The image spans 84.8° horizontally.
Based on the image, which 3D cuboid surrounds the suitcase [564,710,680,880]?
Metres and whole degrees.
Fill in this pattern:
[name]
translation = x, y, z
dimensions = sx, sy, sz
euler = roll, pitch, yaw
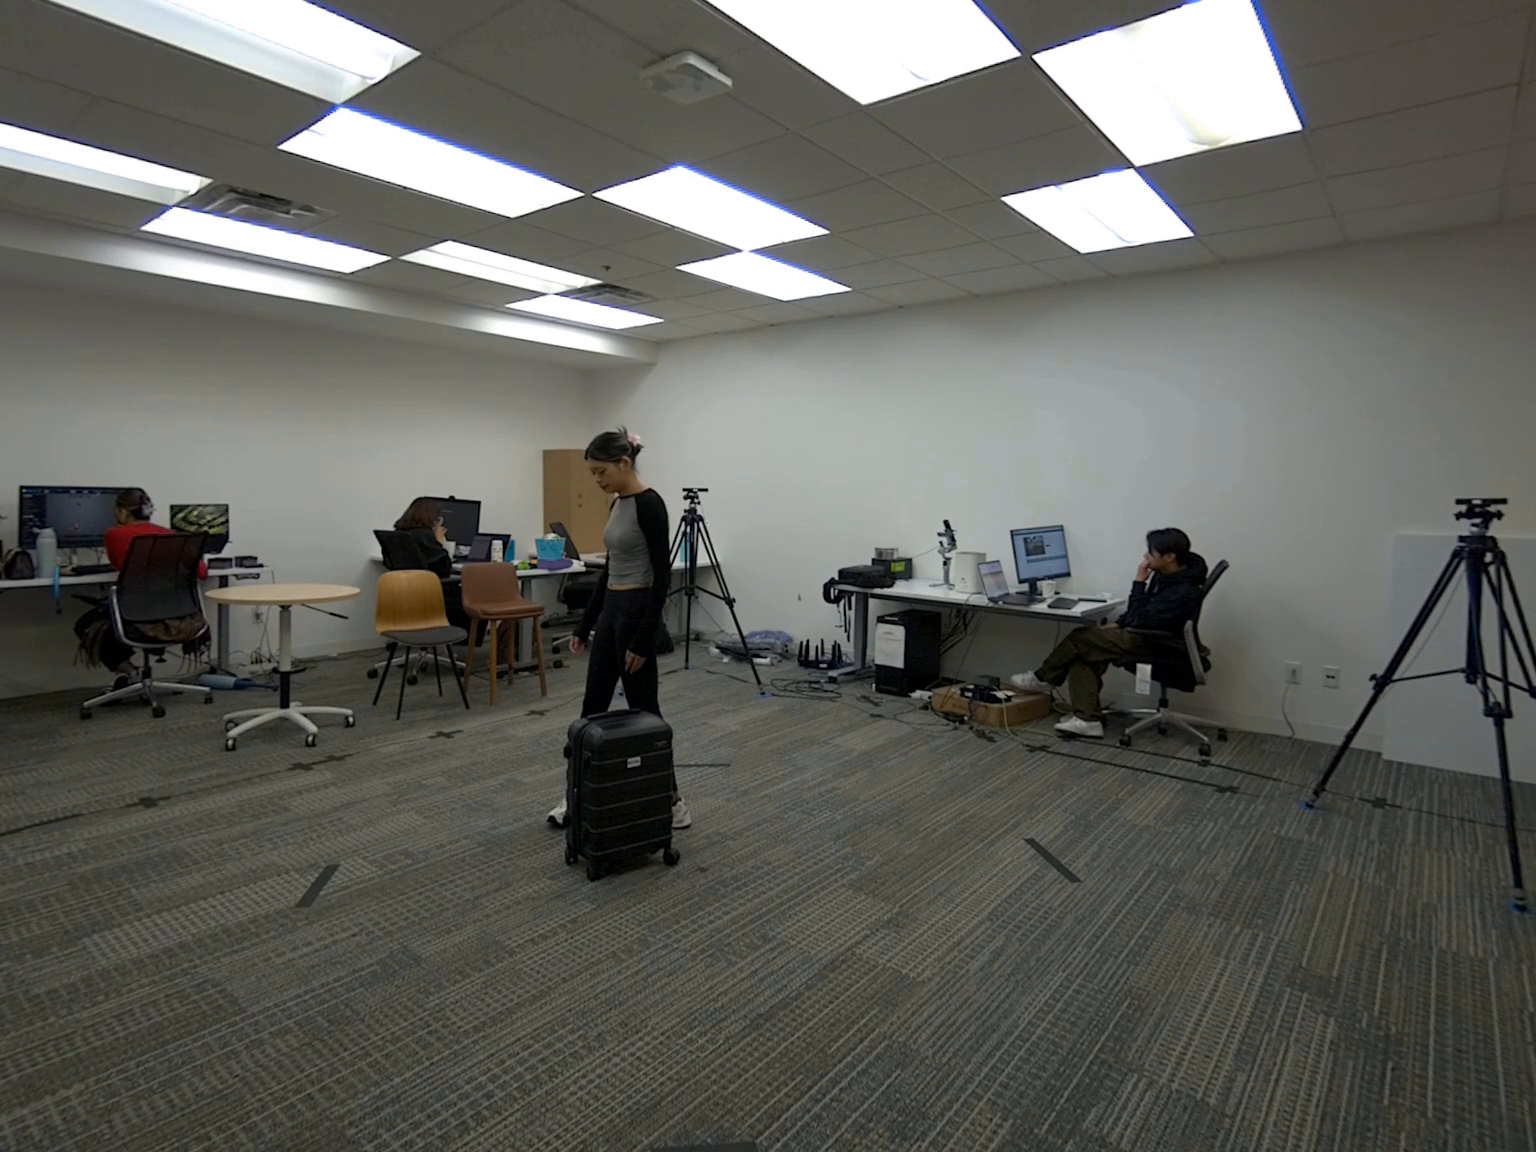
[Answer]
[suitcase]
translation = -0.555, 0.779, 3.154
dimensions = 0.364, 0.549, 0.256
euler = 1, 1, -35
